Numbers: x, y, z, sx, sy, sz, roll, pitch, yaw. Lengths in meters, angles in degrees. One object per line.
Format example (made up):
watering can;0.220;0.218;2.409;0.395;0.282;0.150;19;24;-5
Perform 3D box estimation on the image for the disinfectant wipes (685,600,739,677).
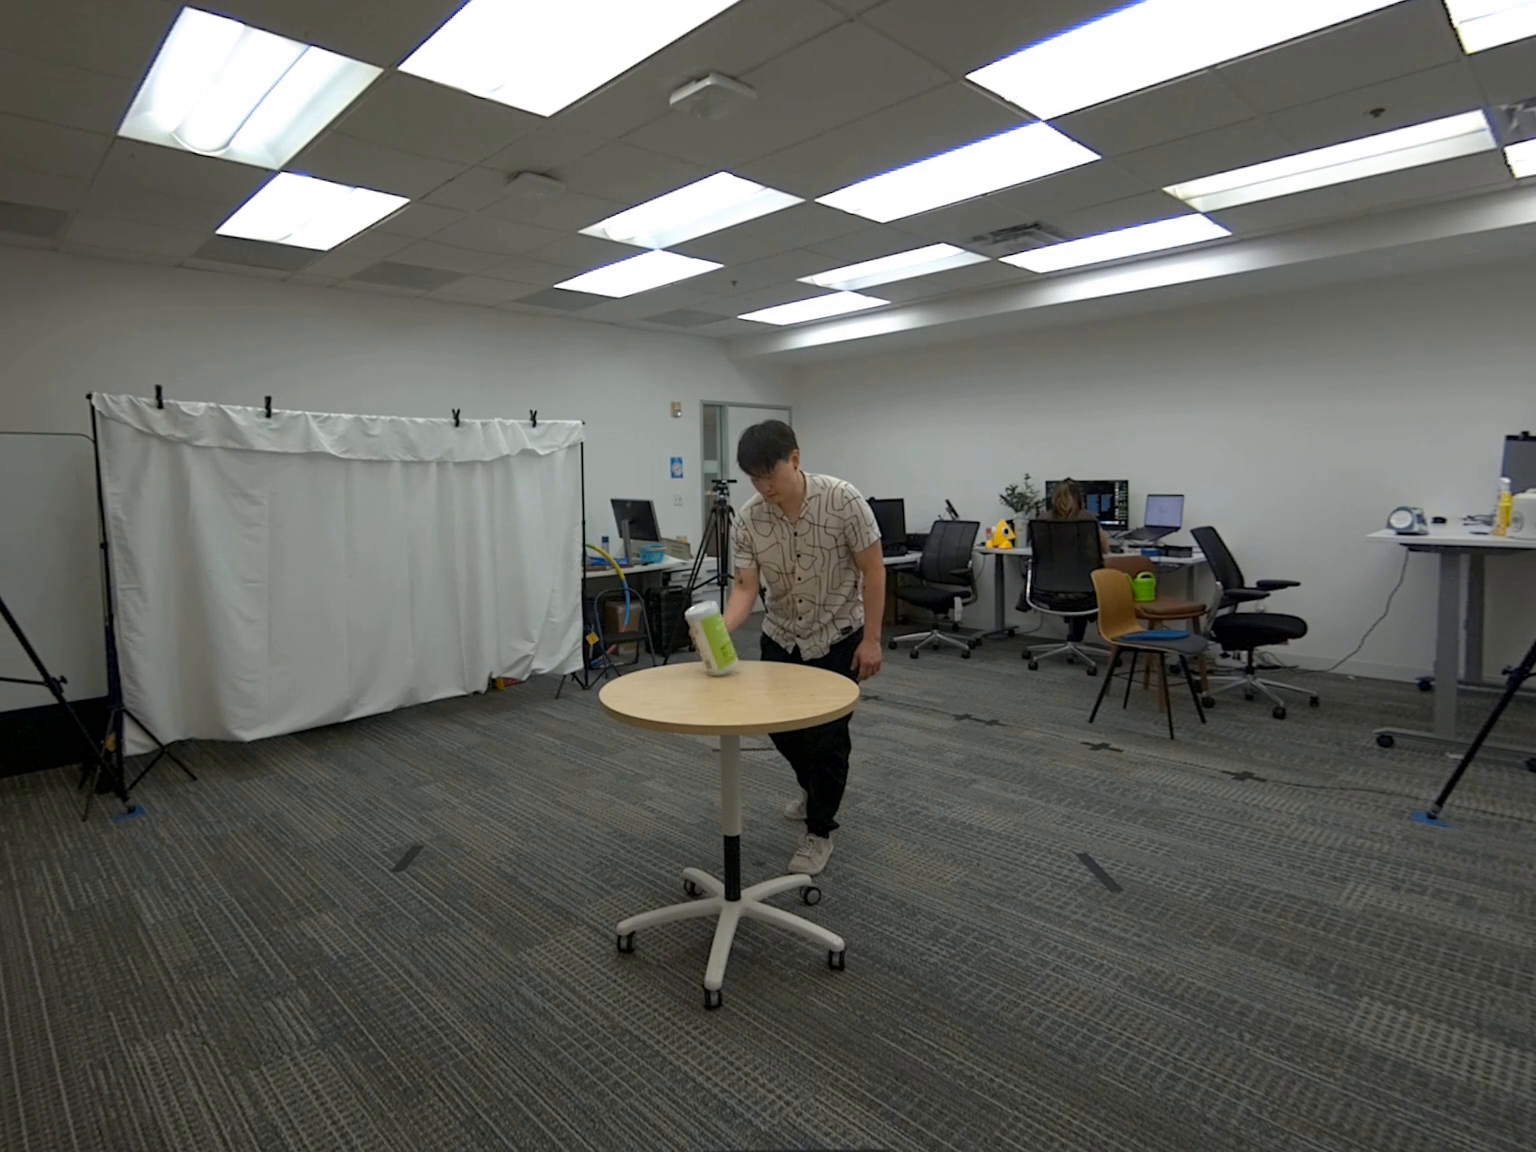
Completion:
disinfectant wipes;-0.177;0.195;2.711;0.118;0.215;0.119;-17;8;1
